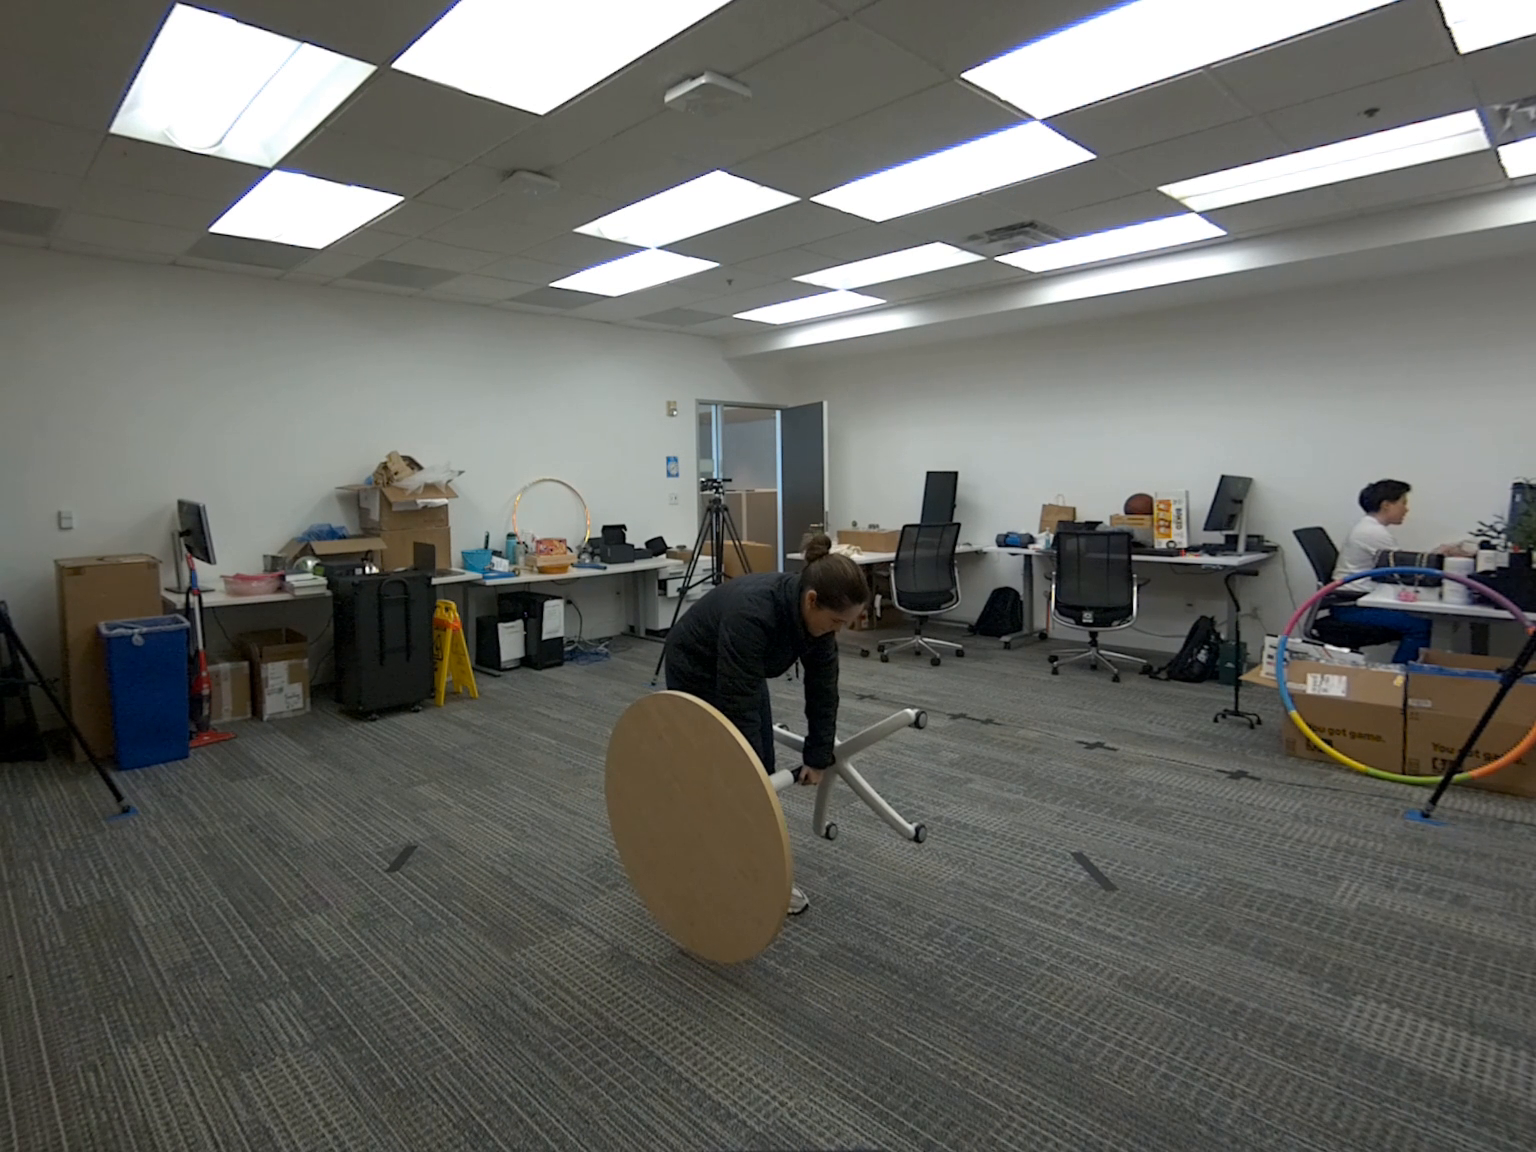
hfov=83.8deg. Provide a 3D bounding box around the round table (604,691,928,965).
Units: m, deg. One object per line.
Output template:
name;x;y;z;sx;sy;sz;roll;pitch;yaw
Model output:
round table;0.025;0.662;2.726;0.809;0.781;0.767;4;9;44
